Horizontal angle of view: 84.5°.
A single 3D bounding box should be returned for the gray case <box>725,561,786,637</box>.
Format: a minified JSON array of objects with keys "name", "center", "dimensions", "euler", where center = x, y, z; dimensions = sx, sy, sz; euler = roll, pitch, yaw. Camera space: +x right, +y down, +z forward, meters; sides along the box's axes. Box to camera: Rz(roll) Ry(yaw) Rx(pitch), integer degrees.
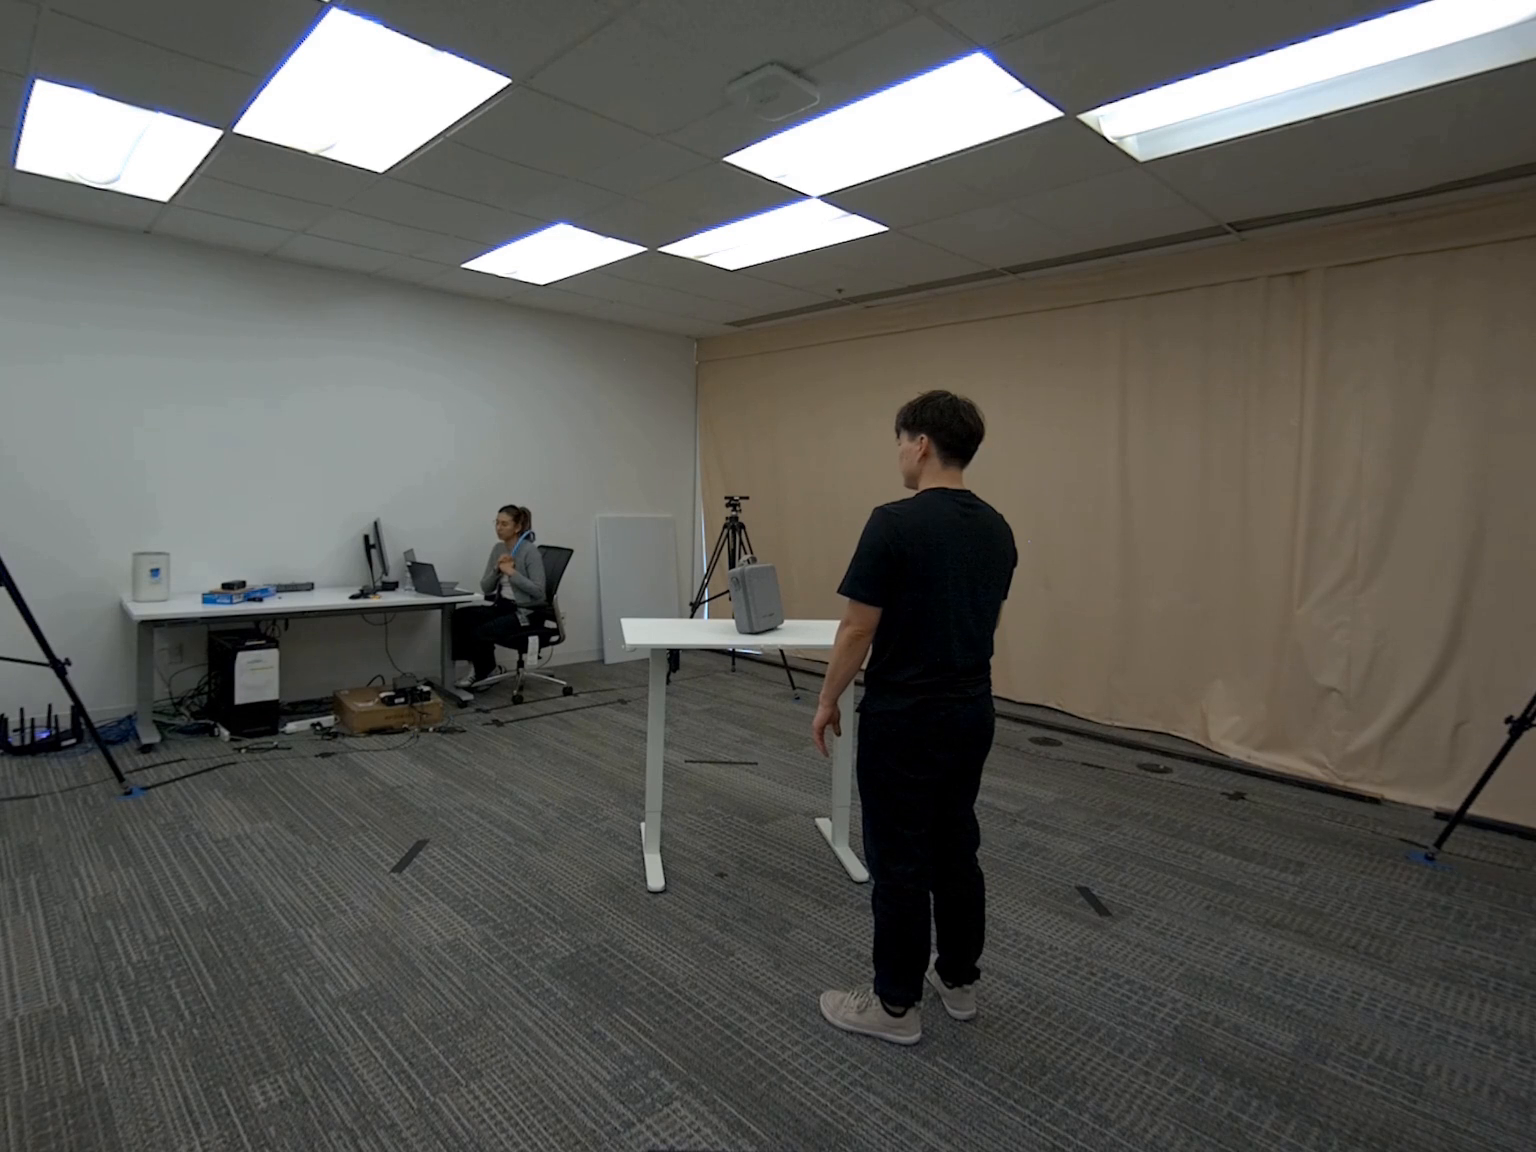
[{"name":"gray case","center":[-0.046,0.084,3.242],"dimensions":[0.106,0.261,0.252],"euler":[-9,-2,24]}]
